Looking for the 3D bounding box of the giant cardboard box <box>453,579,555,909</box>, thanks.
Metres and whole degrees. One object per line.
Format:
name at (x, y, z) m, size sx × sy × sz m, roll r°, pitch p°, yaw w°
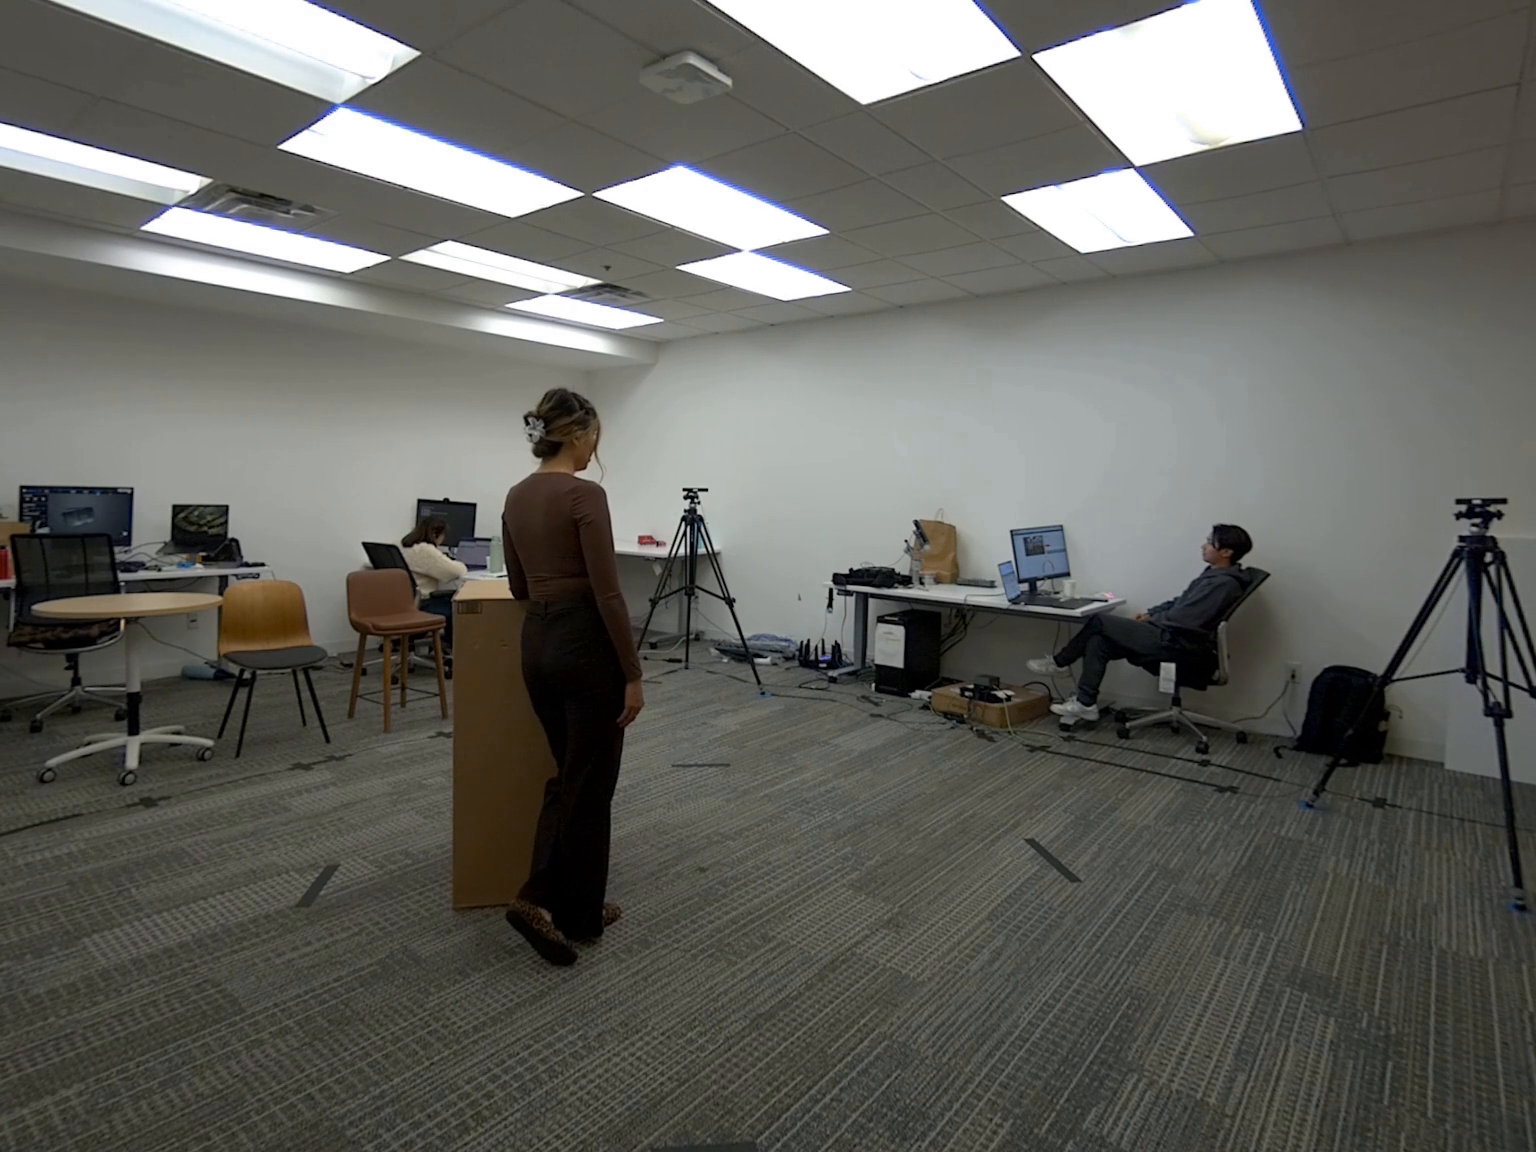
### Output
giant cardboard box at (-0.911, 0.554, 3.081) m, size 0.440 × 1.024 × 0.594 m, roll 0°, pitch 3°, yaw -15°
